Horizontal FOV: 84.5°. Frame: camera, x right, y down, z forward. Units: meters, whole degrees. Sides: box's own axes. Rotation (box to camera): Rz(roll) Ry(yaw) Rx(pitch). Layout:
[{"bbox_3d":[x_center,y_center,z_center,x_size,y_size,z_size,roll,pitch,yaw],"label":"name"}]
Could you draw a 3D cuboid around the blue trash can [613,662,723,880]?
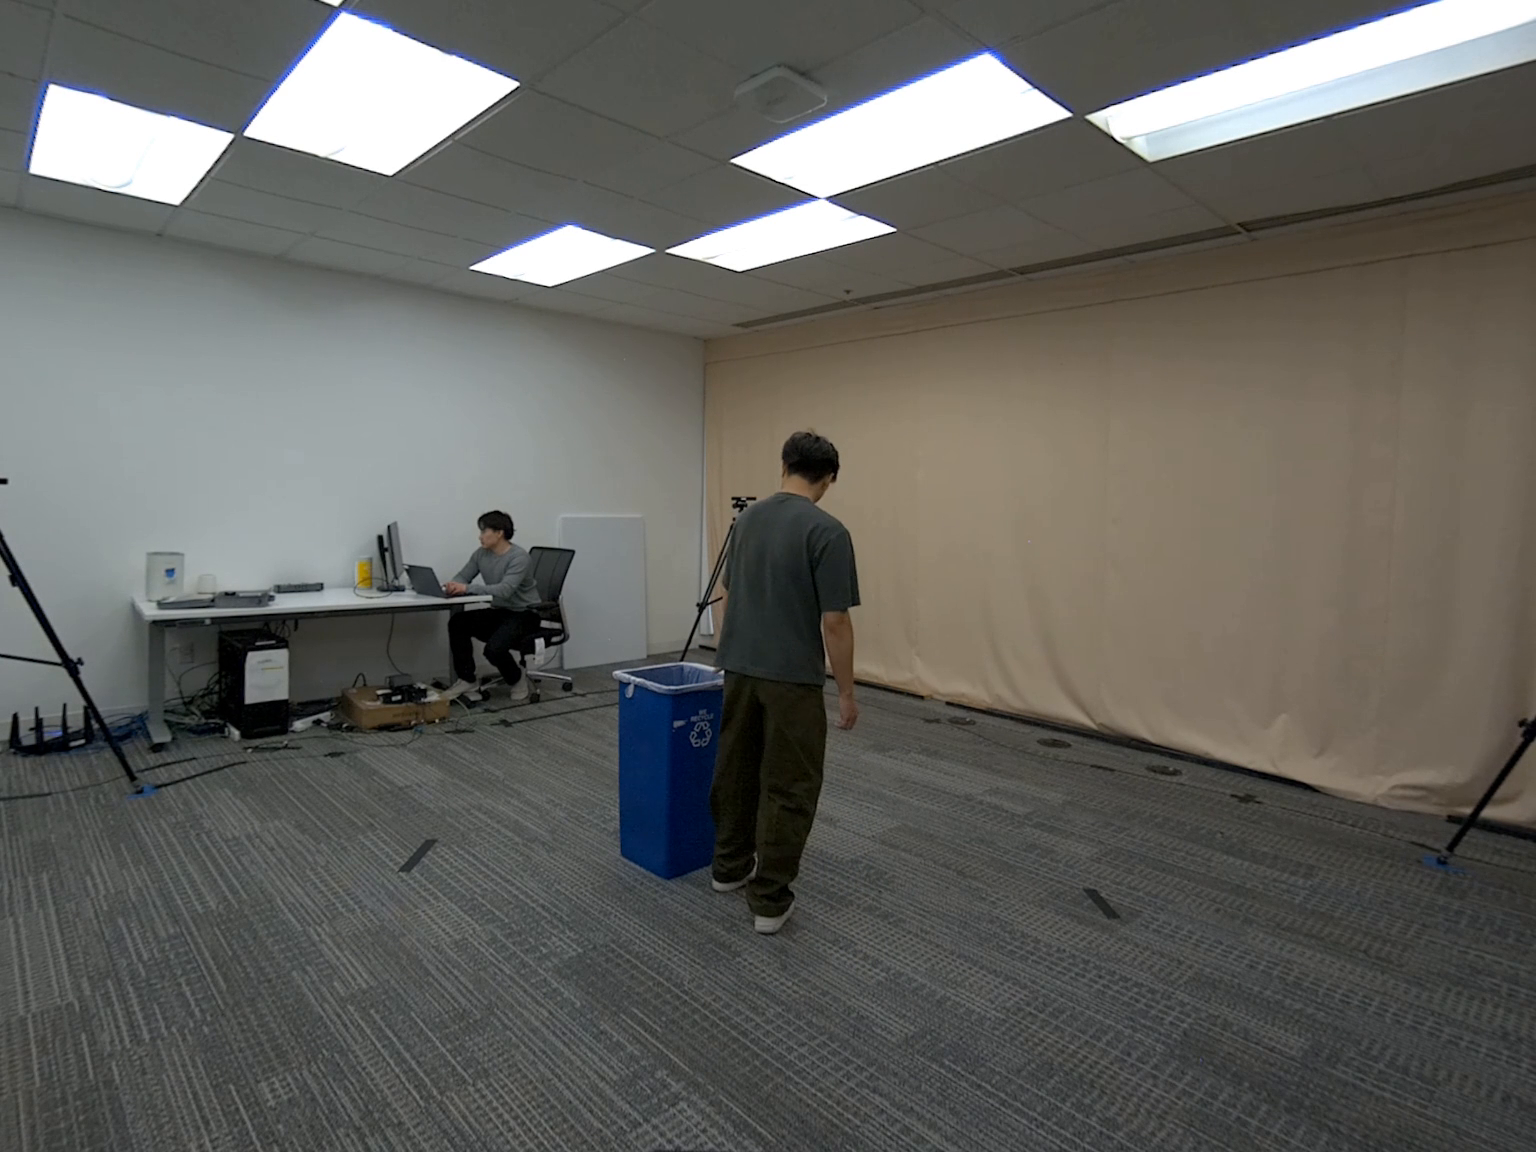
[{"bbox_3d":[-0.365,0.730,3.255,0.365,0.711,0.388,-2,5,-45],"label":"blue trash can"}]
